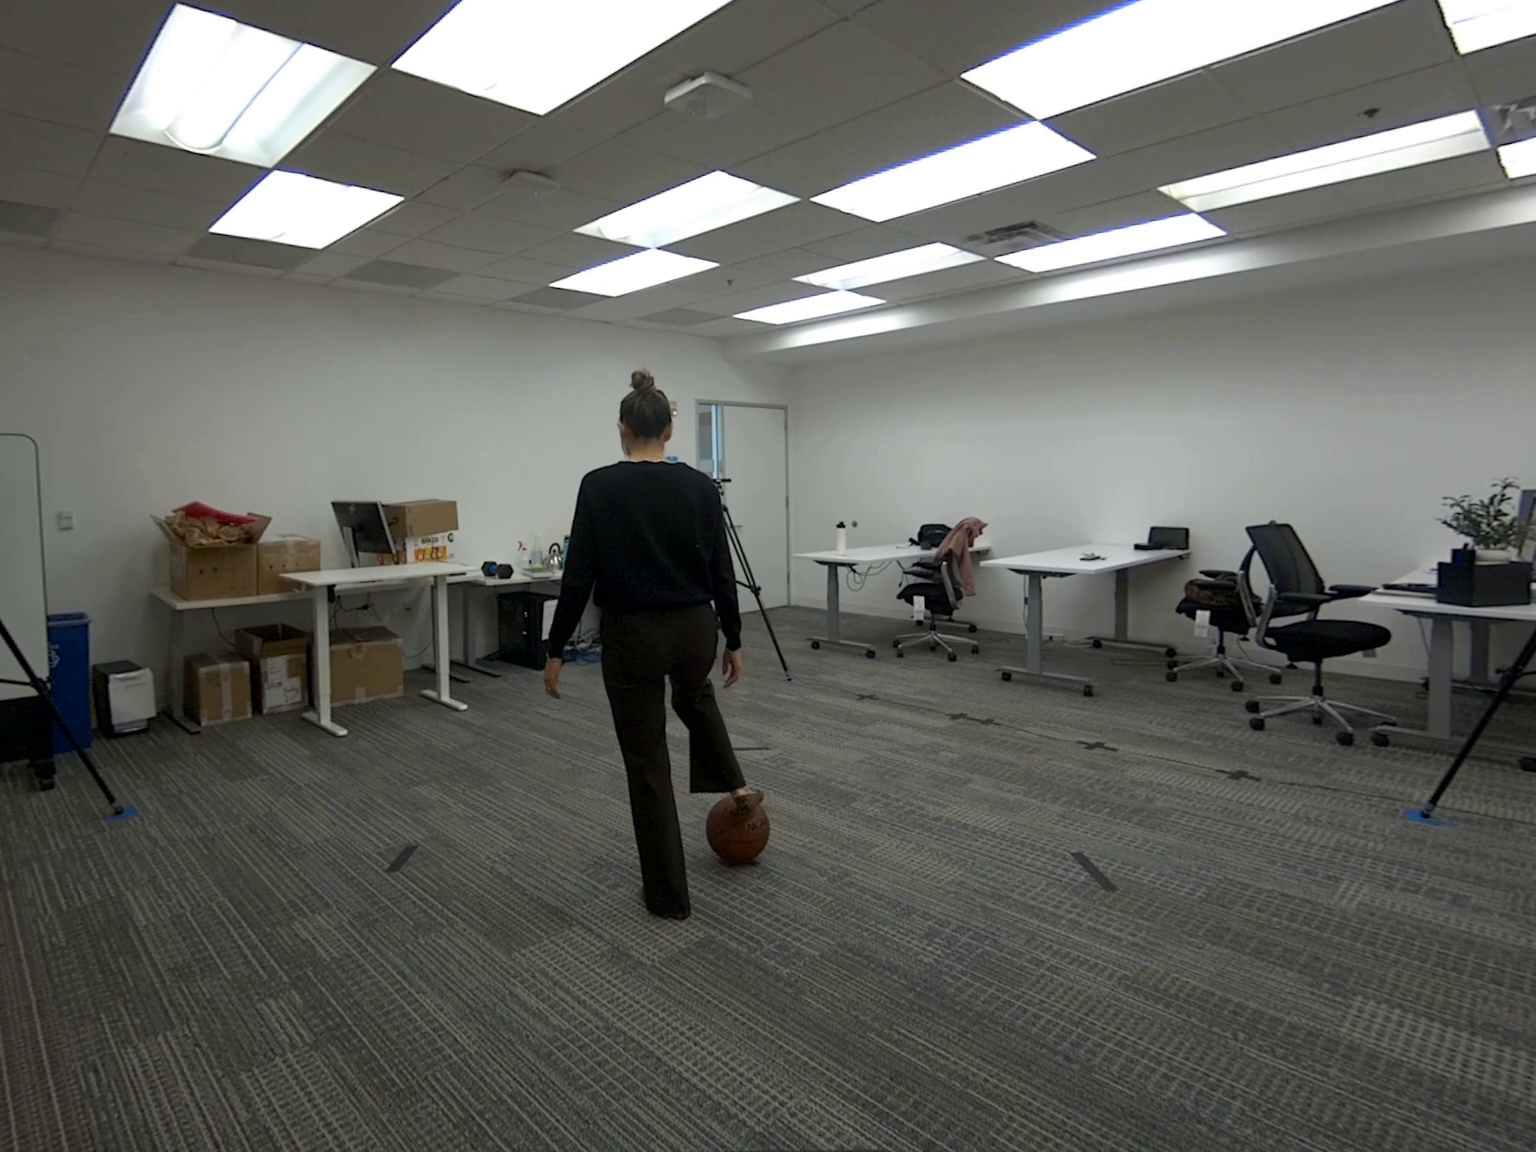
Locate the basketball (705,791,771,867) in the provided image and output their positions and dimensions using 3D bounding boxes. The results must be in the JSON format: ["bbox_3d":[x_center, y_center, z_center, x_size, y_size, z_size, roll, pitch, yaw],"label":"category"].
[{"bbox_3d":[-0.121,0.920,3.141,0.236,0.235,0.237,-1,5,-2],"label":"basketball"}]
